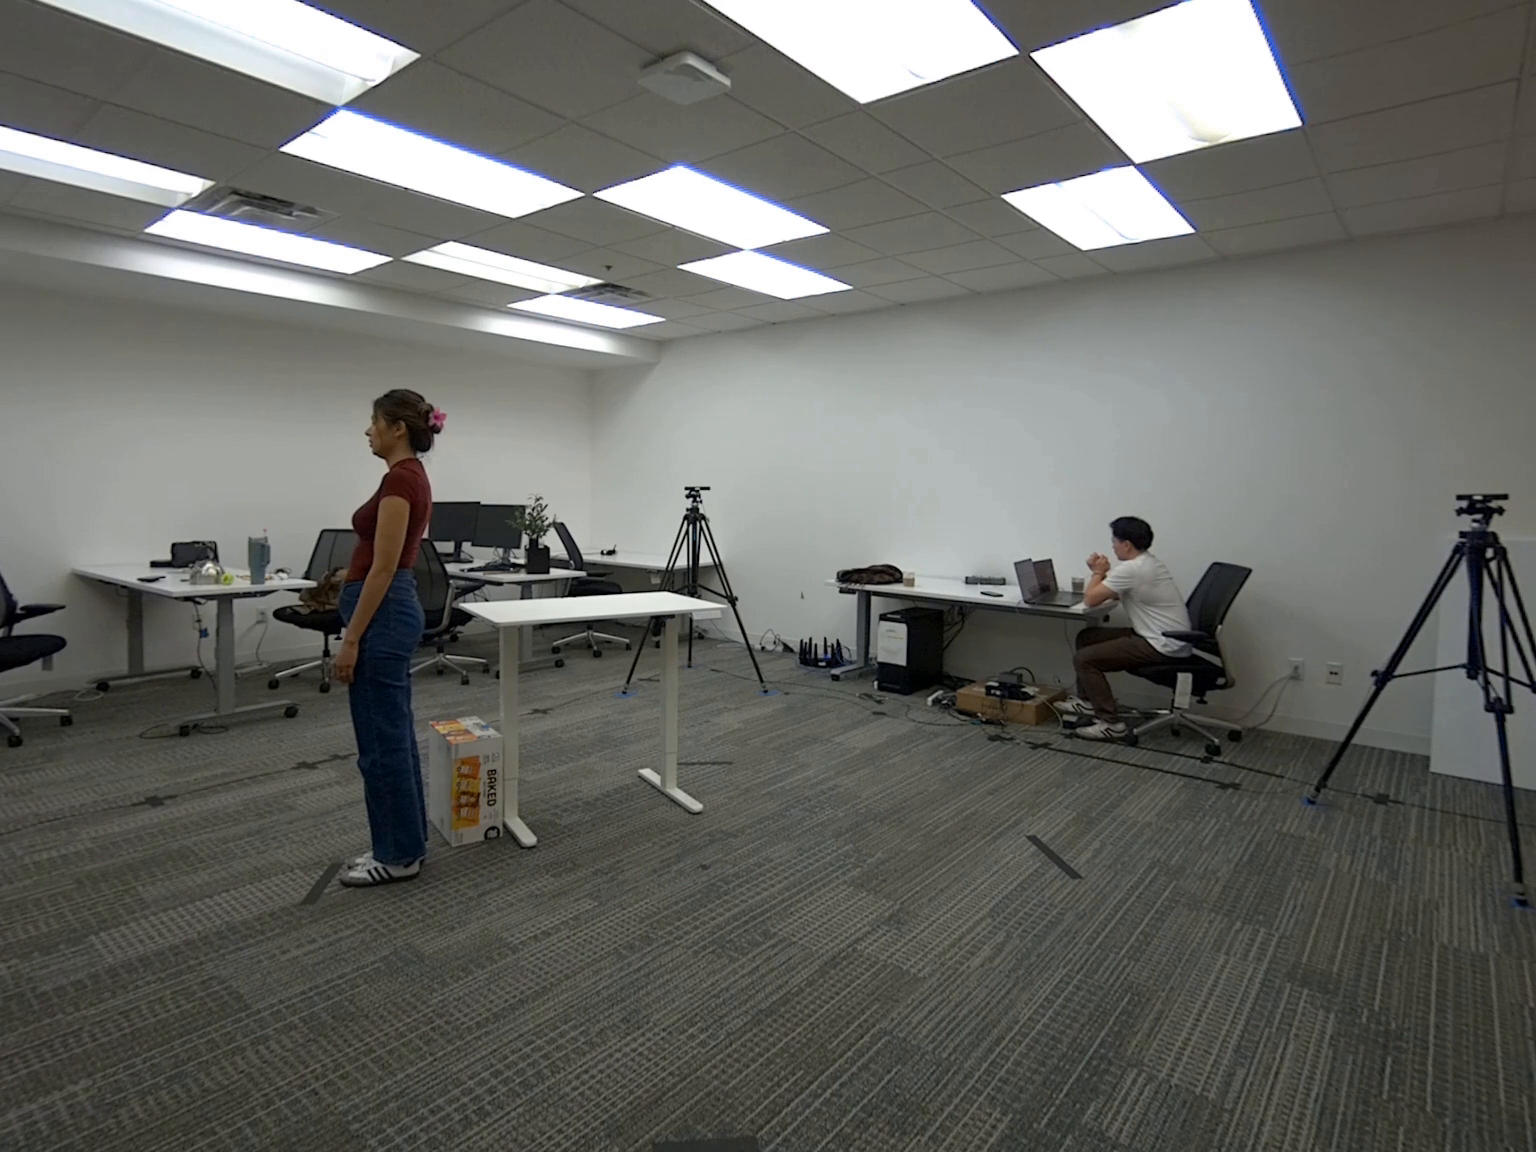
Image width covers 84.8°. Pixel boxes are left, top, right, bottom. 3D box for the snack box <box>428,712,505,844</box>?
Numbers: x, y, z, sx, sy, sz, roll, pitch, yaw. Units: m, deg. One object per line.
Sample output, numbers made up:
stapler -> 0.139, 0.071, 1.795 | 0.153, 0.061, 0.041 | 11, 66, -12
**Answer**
snack box -> -1.238, 0.809, 3.433 | 0.200, 0.404, 0.351 | -1, 5, -35
